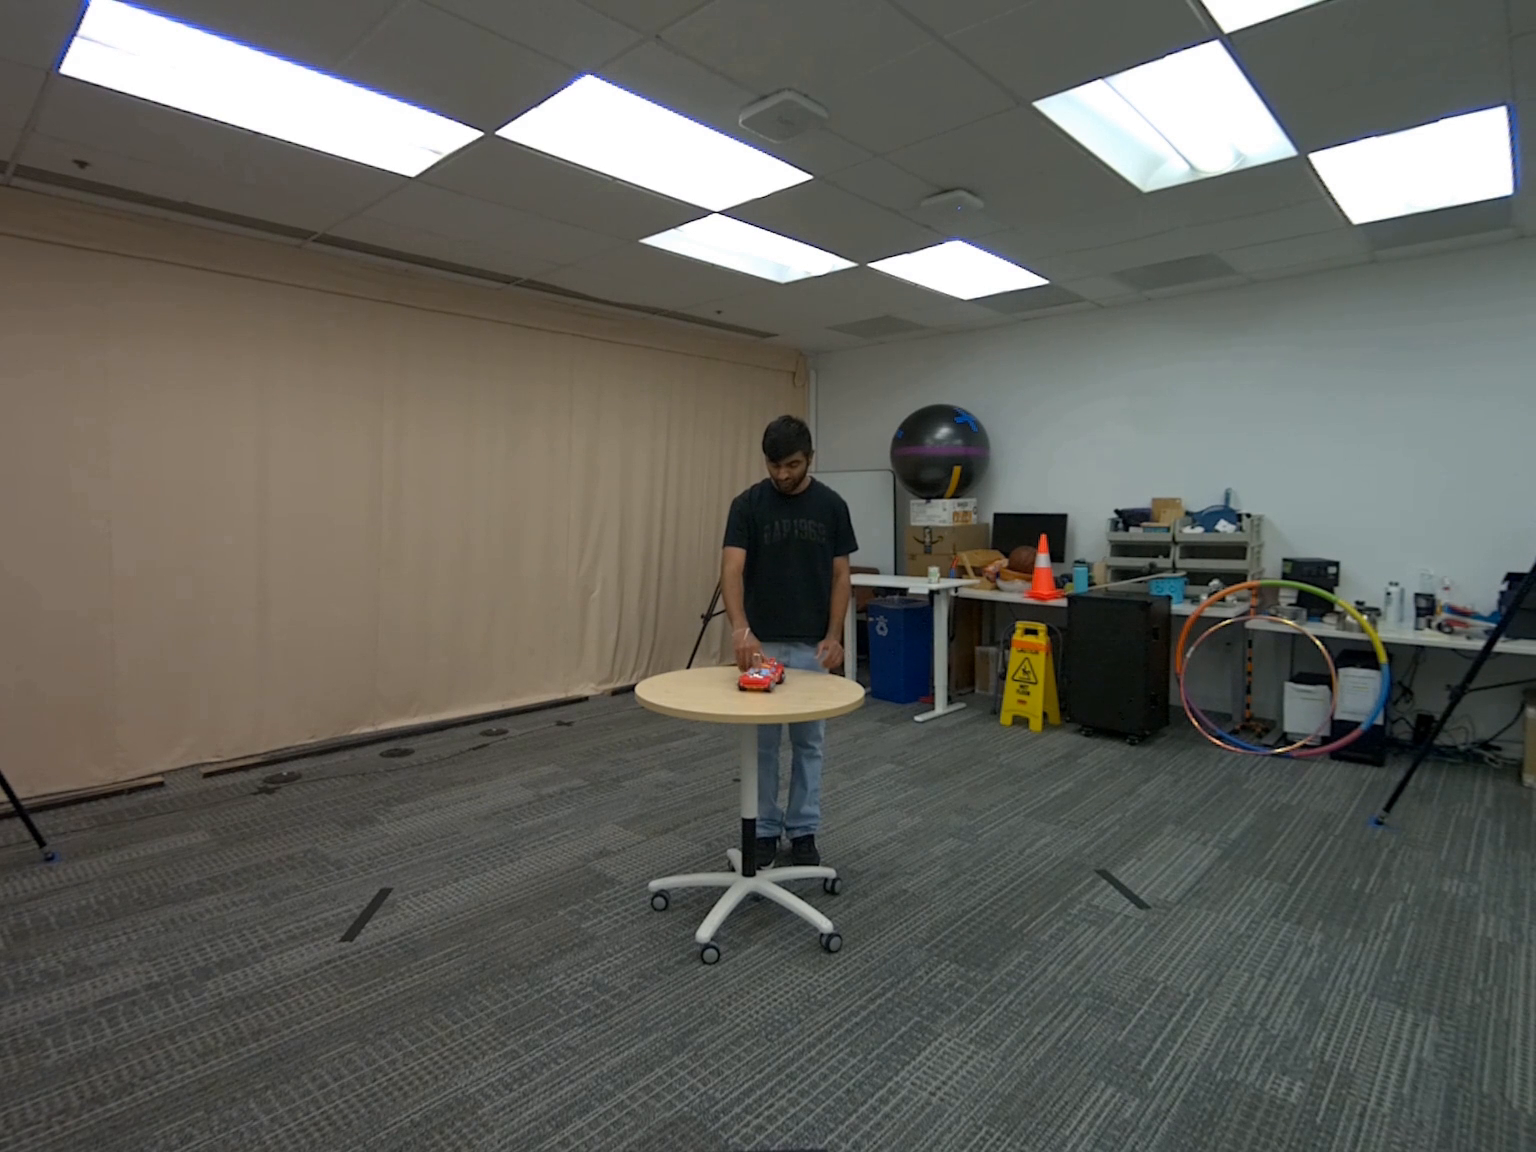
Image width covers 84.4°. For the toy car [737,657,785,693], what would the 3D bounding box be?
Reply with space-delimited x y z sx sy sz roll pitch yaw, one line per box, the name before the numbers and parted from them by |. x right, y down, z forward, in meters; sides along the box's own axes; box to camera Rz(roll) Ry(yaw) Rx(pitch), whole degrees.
toy car | -0.019 0.340 2.861 0.132 0.082 0.253 1 15 15
